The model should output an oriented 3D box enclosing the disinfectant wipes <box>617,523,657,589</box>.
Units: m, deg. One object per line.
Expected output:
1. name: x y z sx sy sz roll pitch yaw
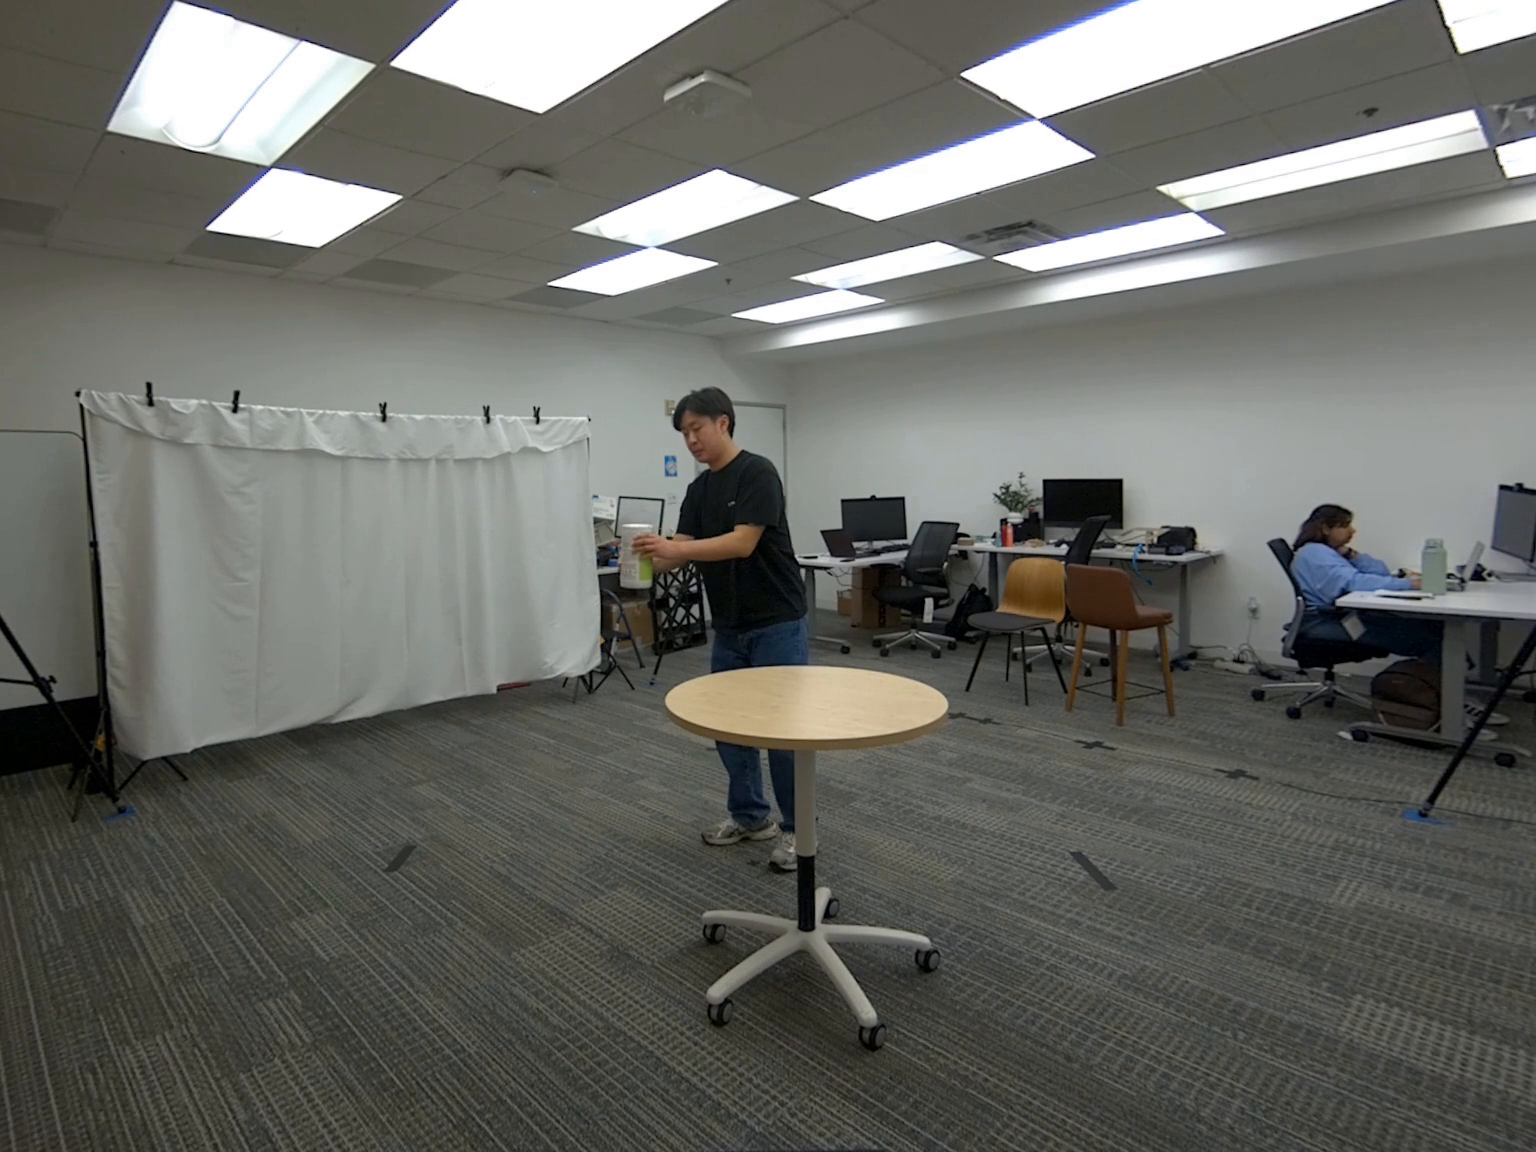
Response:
1. disinfectant wipes: -0.448 -0.069 2.944 0.118 0.217 0.118 2 3 -2
